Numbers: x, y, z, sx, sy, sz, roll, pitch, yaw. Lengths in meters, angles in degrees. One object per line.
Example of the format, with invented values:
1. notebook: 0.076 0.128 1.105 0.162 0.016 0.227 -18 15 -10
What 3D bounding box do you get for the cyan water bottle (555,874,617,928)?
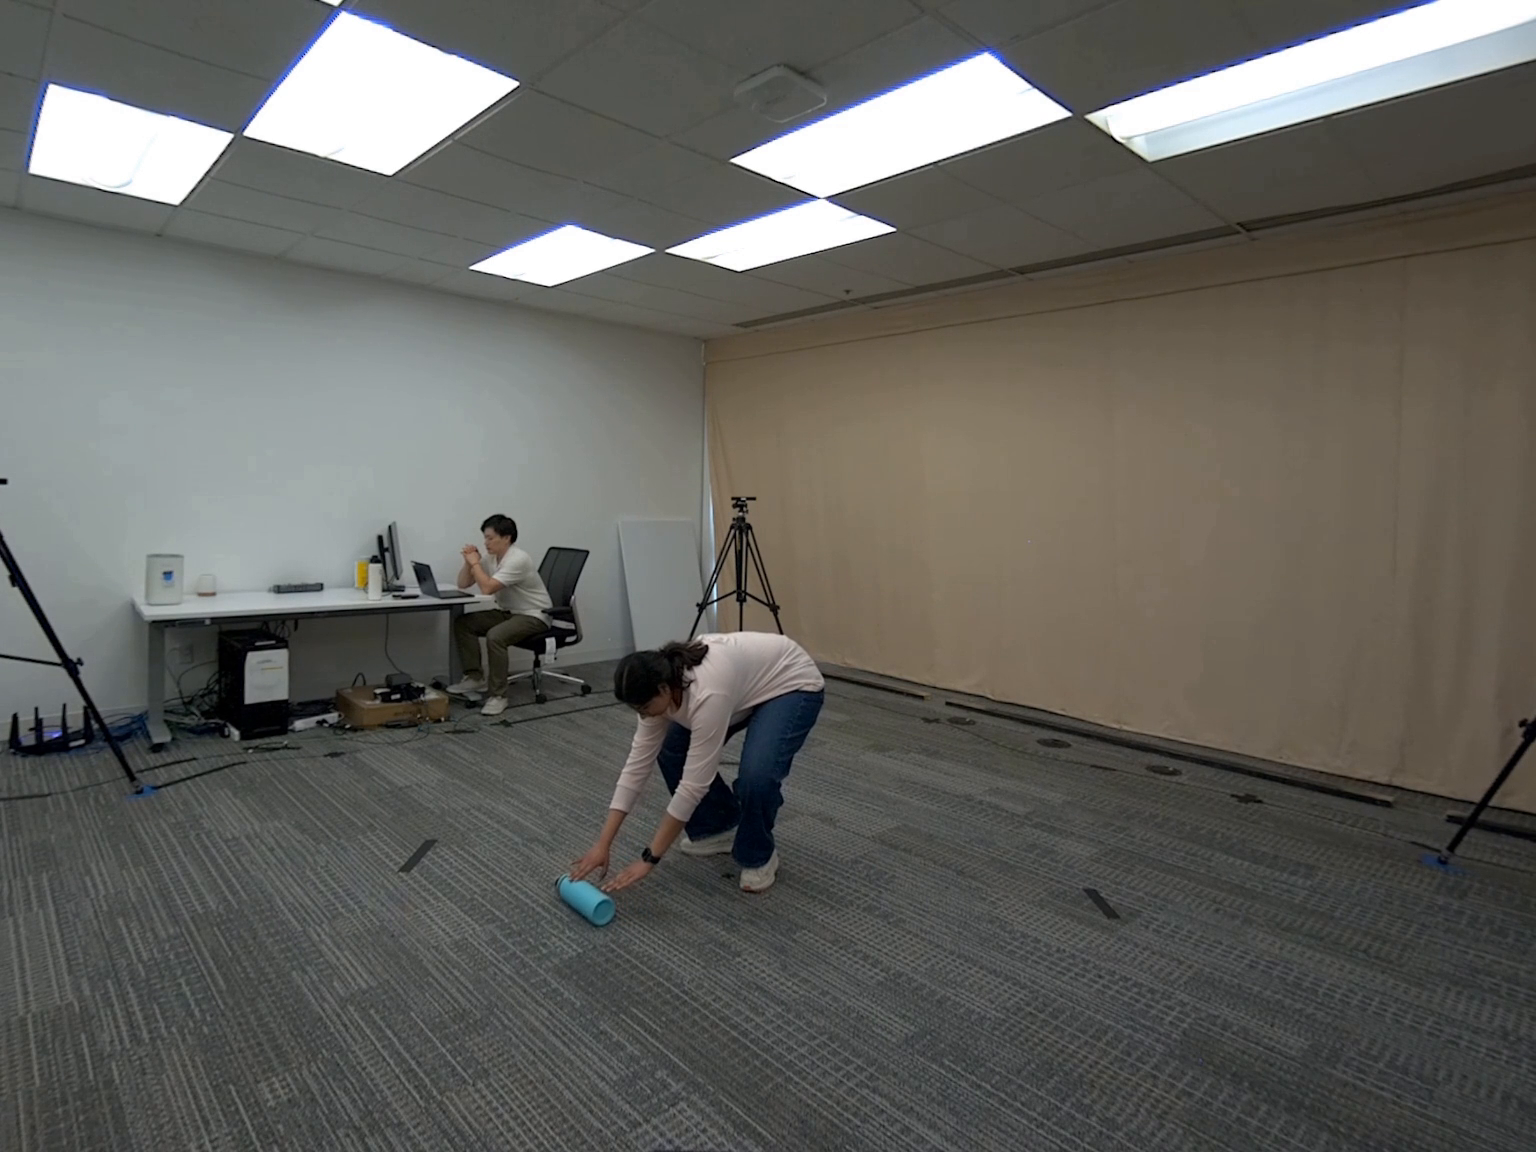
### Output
1. cyan water bottle: -0.627 1.077 2.822 0.090 0.092 0.290 -2 3 -40
